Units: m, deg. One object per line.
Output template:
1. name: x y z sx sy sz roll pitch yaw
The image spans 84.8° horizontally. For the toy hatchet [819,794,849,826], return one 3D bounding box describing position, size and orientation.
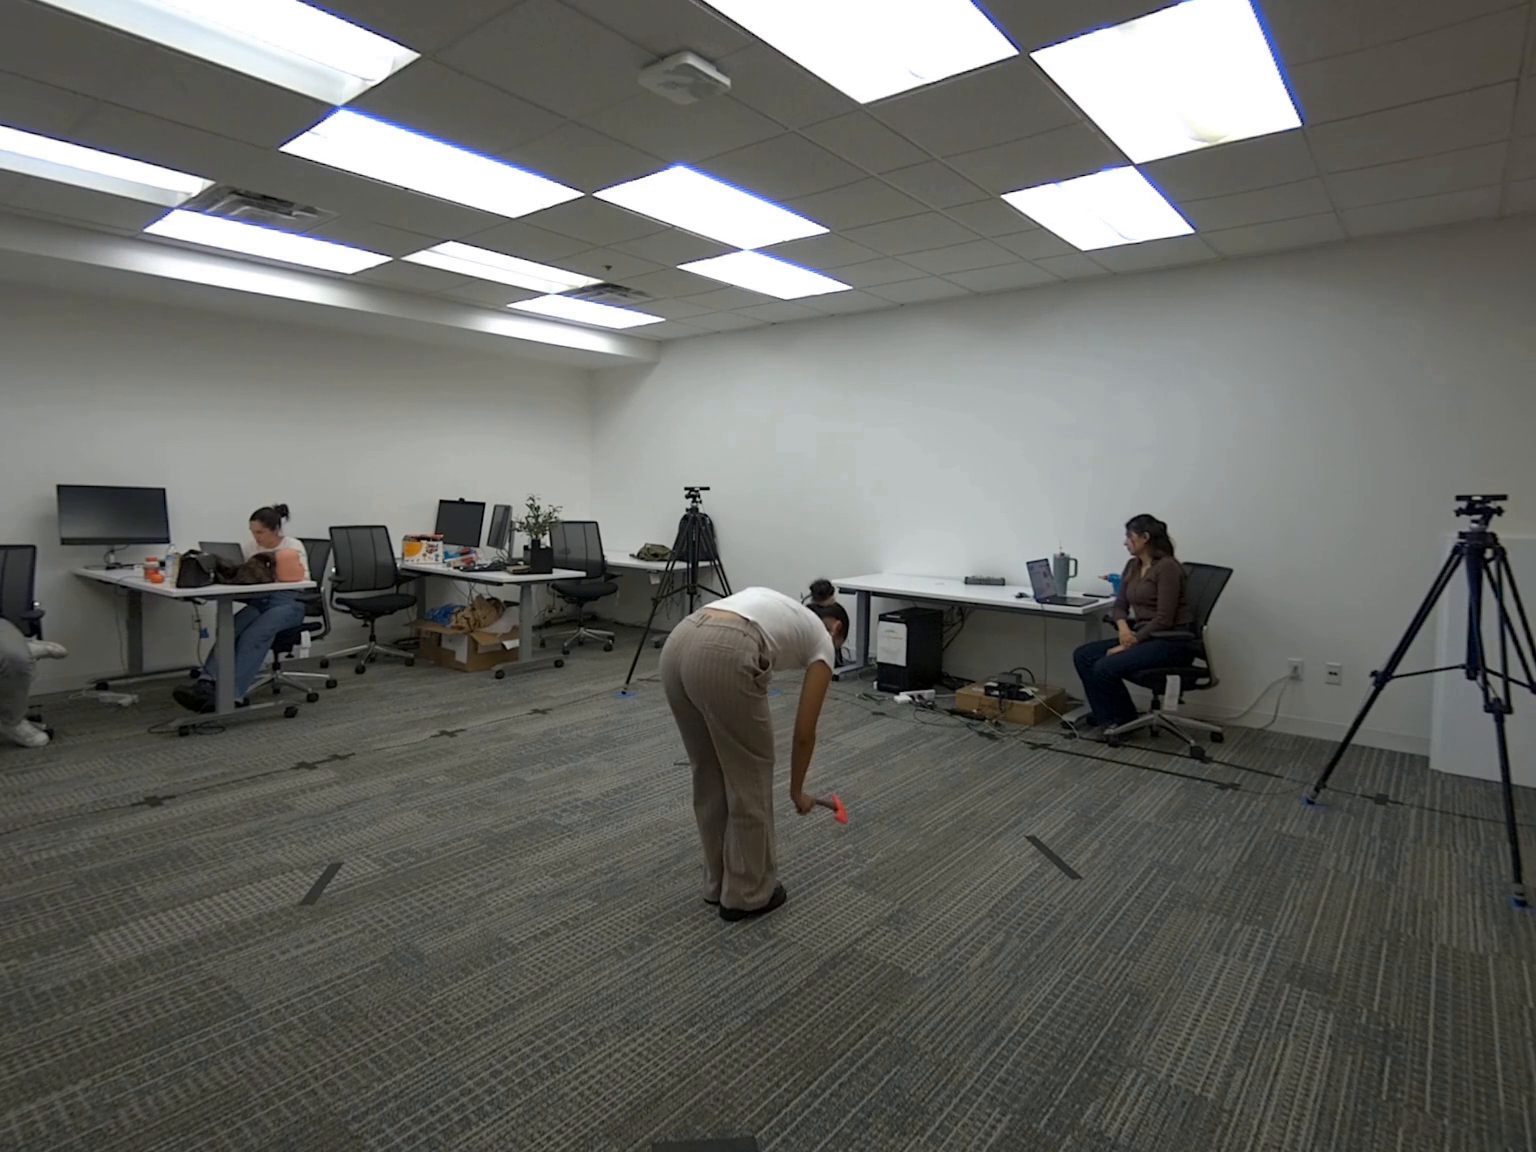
1. toy hatchet: 0.193 0.846 3.065 0.263 0.029 0.135 -10 54 -52
